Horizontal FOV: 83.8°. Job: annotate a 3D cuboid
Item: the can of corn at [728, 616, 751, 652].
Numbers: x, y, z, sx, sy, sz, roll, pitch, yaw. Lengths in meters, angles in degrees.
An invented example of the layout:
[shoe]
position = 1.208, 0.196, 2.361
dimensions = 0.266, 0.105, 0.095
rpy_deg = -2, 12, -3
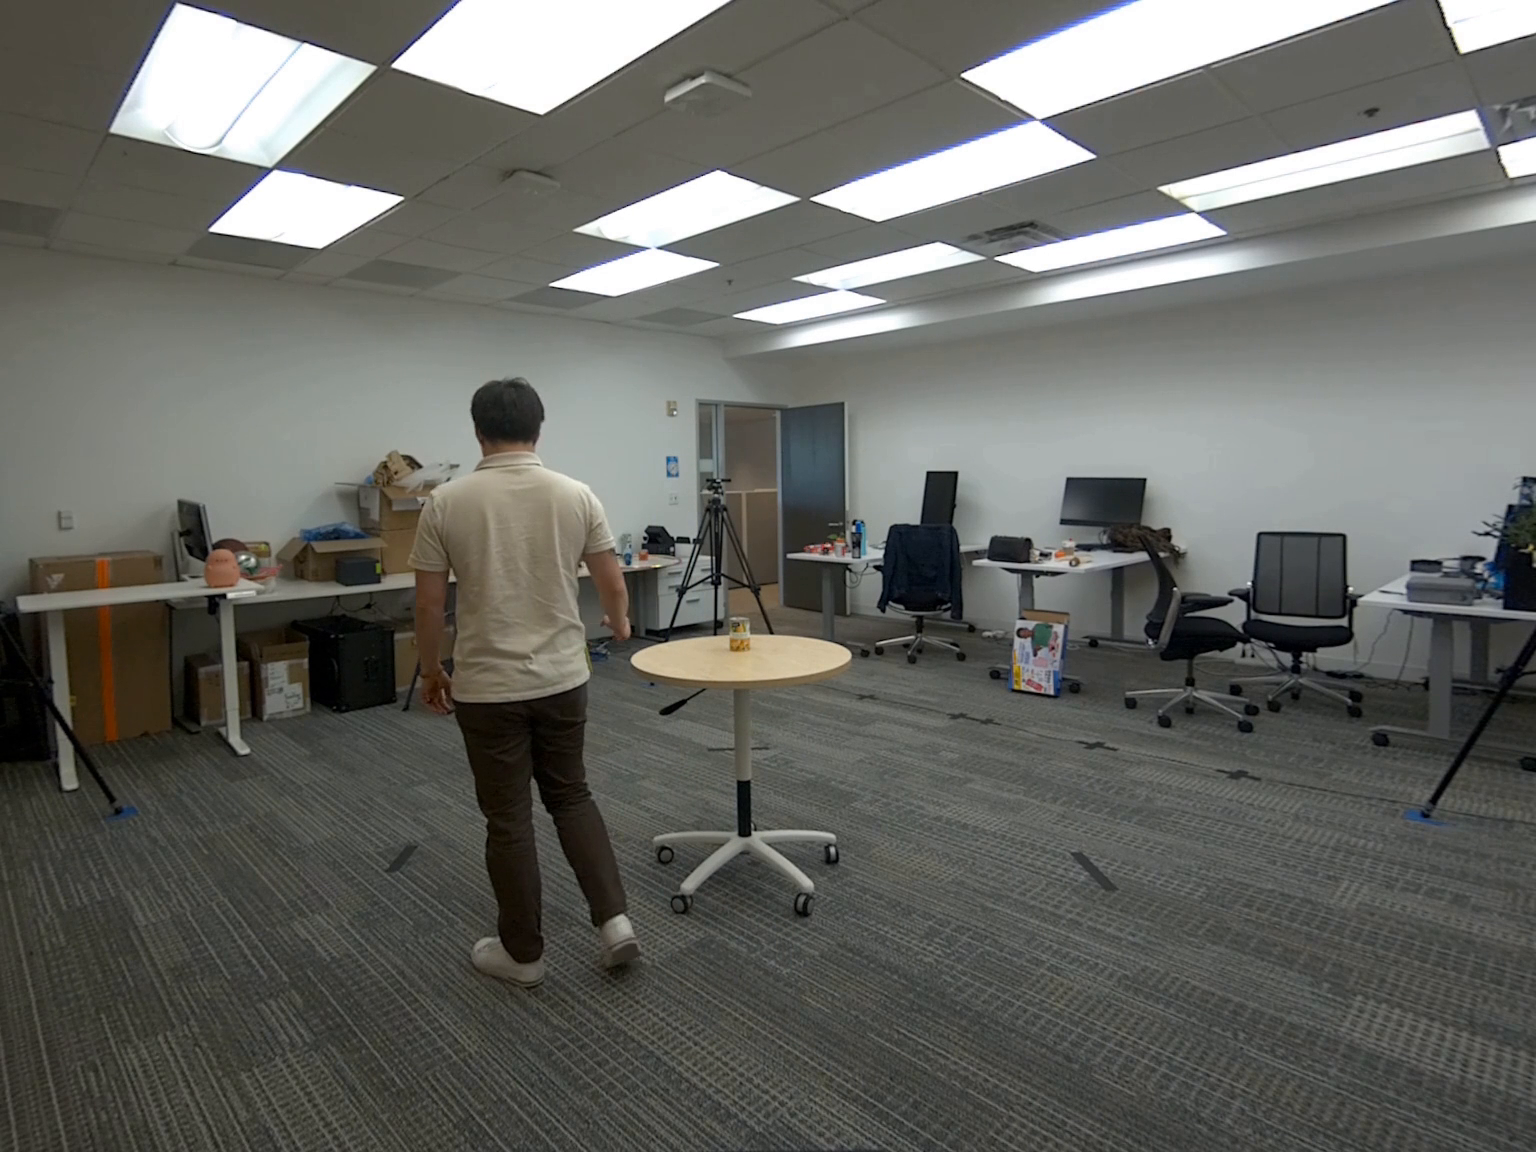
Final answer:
[can of corn]
position = -0.101, 0.210, 3.071
dimensions = 0.074, 0.111, 0.074
rpy_deg = -2, 3, -2
